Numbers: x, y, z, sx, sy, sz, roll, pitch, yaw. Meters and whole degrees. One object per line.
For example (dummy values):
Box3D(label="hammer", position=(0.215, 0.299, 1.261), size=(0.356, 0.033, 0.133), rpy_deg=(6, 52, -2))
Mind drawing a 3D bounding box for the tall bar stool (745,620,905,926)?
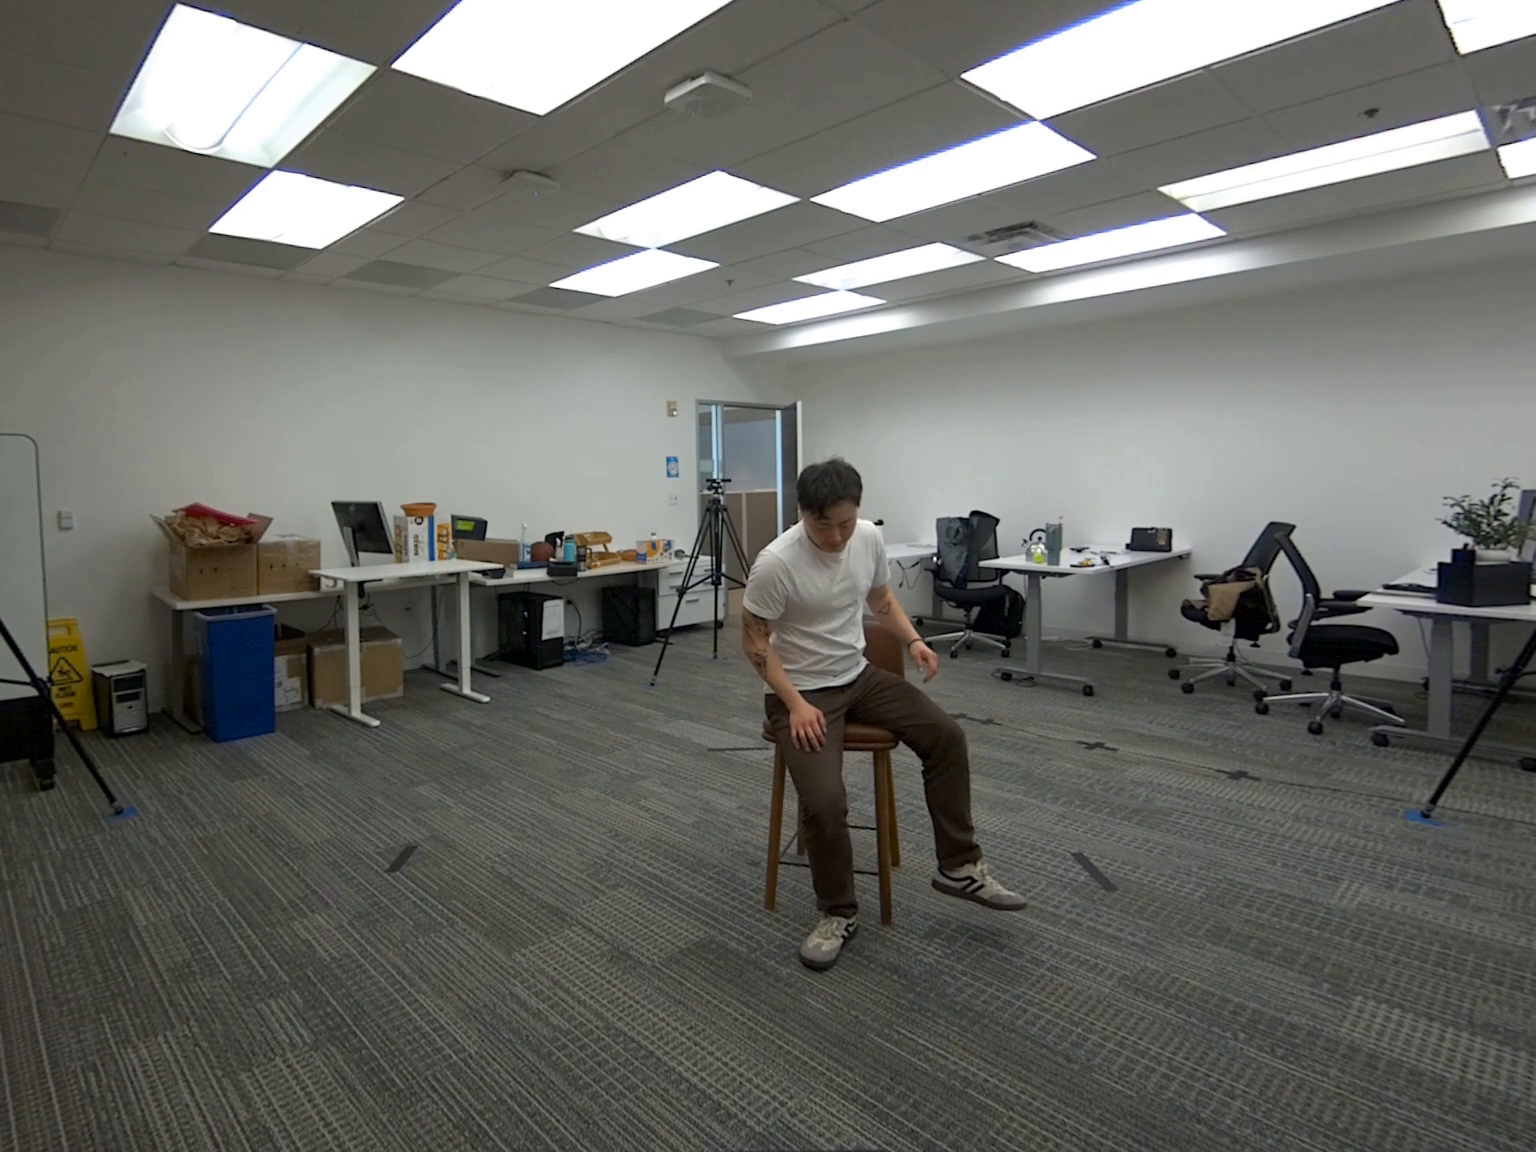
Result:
Box3D(label="tall bar stool", position=(0.240, 0.630, 2.908), size=(0.465, 0.888, 0.460), rpy_deg=(1, 3, 18))
